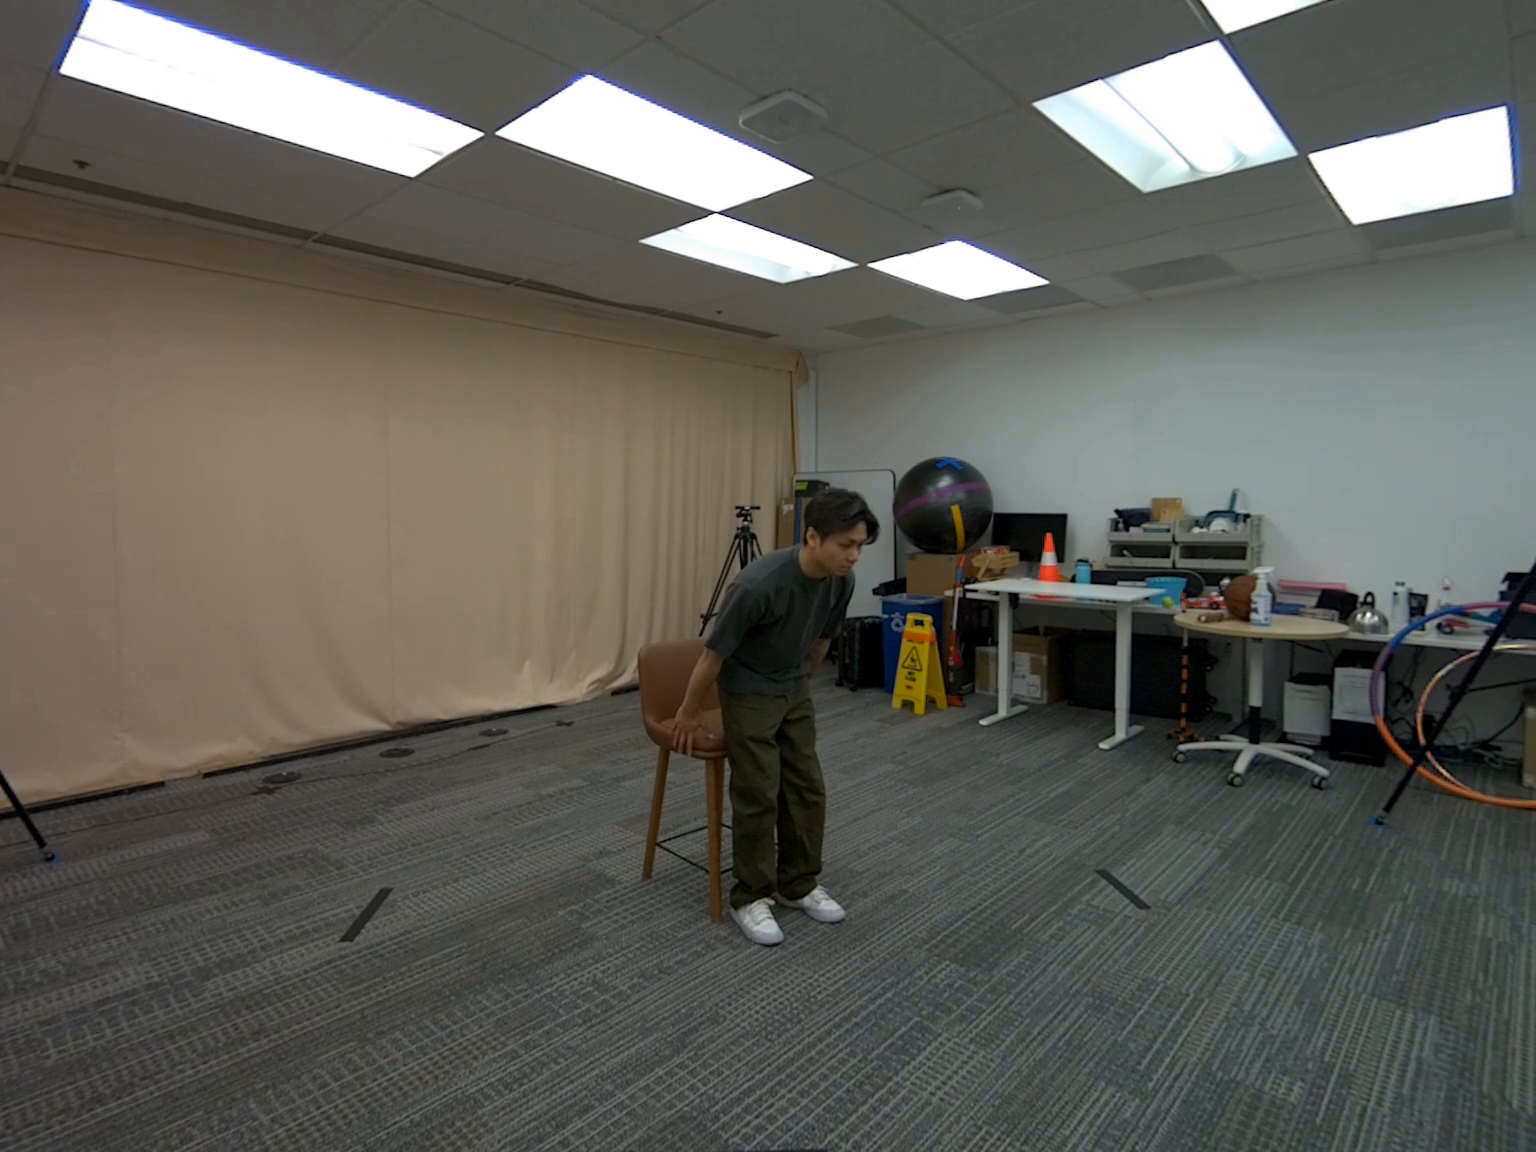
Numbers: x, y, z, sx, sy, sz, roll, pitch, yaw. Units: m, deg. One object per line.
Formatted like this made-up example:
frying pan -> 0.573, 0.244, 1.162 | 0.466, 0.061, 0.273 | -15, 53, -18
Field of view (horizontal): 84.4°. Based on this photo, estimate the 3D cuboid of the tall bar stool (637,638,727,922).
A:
tall bar stool -> -0.195, 0.698, 3.088 | 0.443, 0.888, 0.483 | -4, 4, -43
